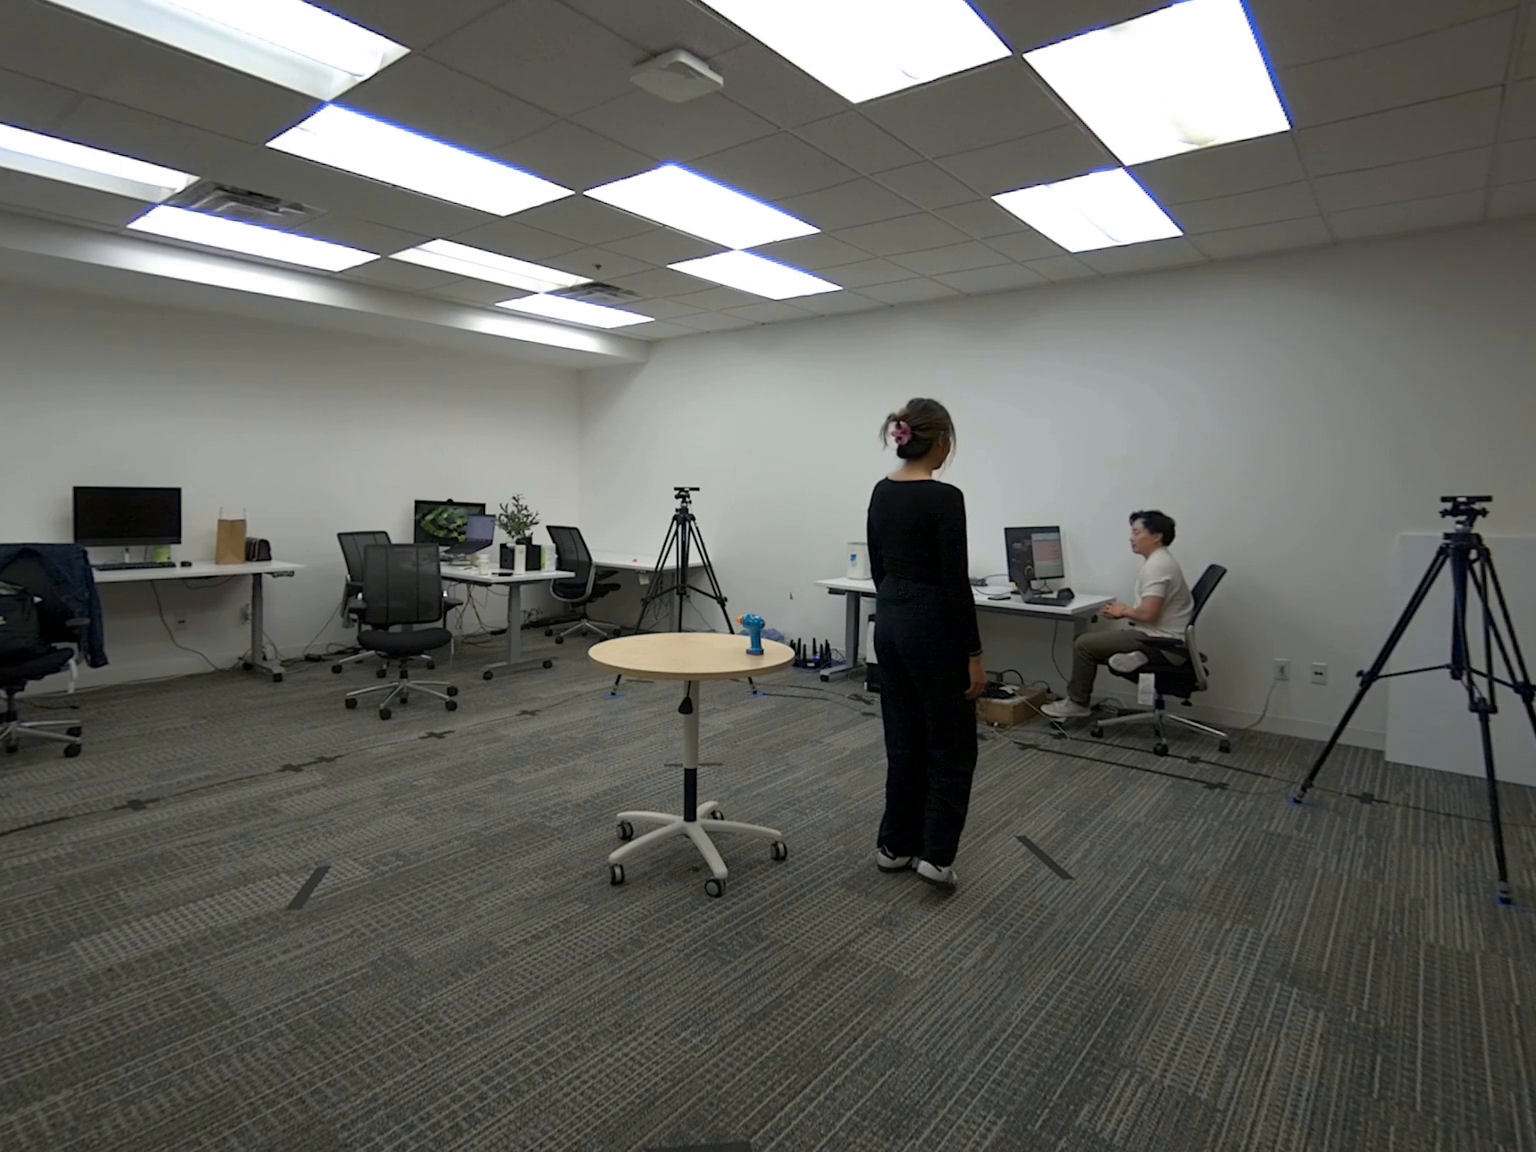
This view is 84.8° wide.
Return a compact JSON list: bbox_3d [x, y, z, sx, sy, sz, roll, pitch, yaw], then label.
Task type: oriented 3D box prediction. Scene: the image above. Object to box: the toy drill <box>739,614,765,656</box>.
[{"bbox_3d":[-0.083,0.207,3.146,0.059,0.145,0.175,-3,6,-37],"label":"toy drill"}]
